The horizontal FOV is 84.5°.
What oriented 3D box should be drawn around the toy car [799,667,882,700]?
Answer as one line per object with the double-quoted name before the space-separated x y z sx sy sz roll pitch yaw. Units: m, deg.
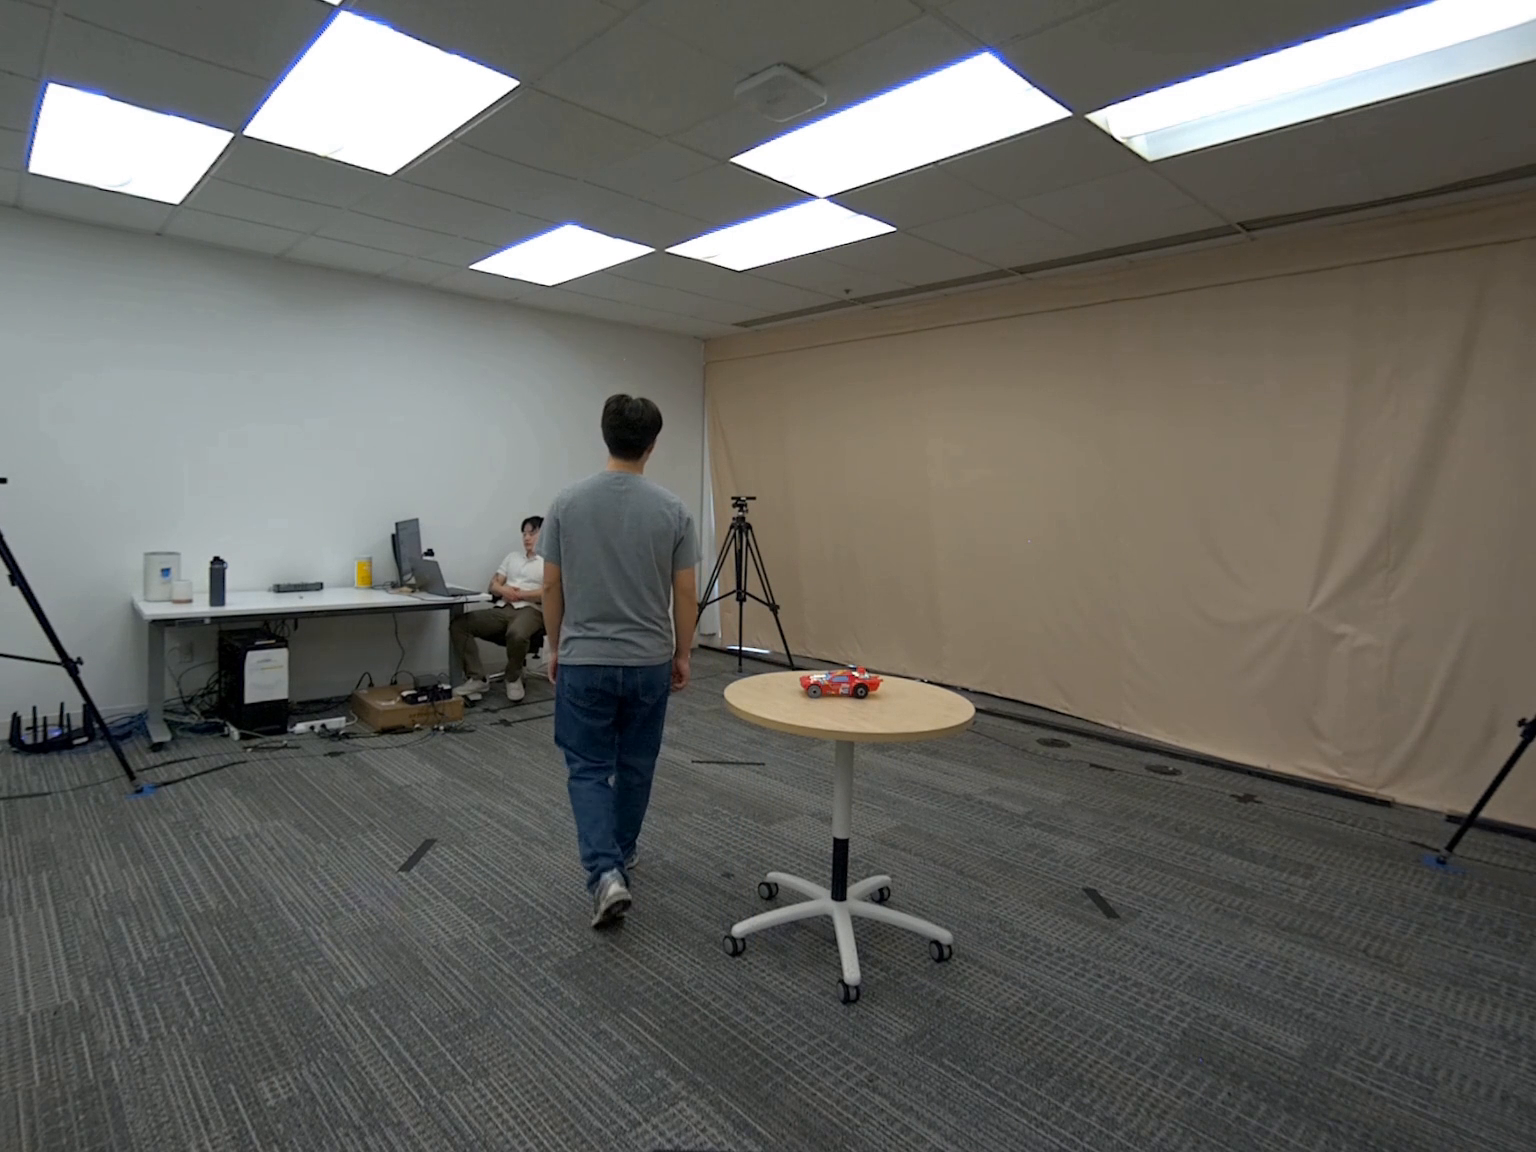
"toy car" 0.221 0.344 2.628 0.254 0.083 0.131 -9 6 -2
